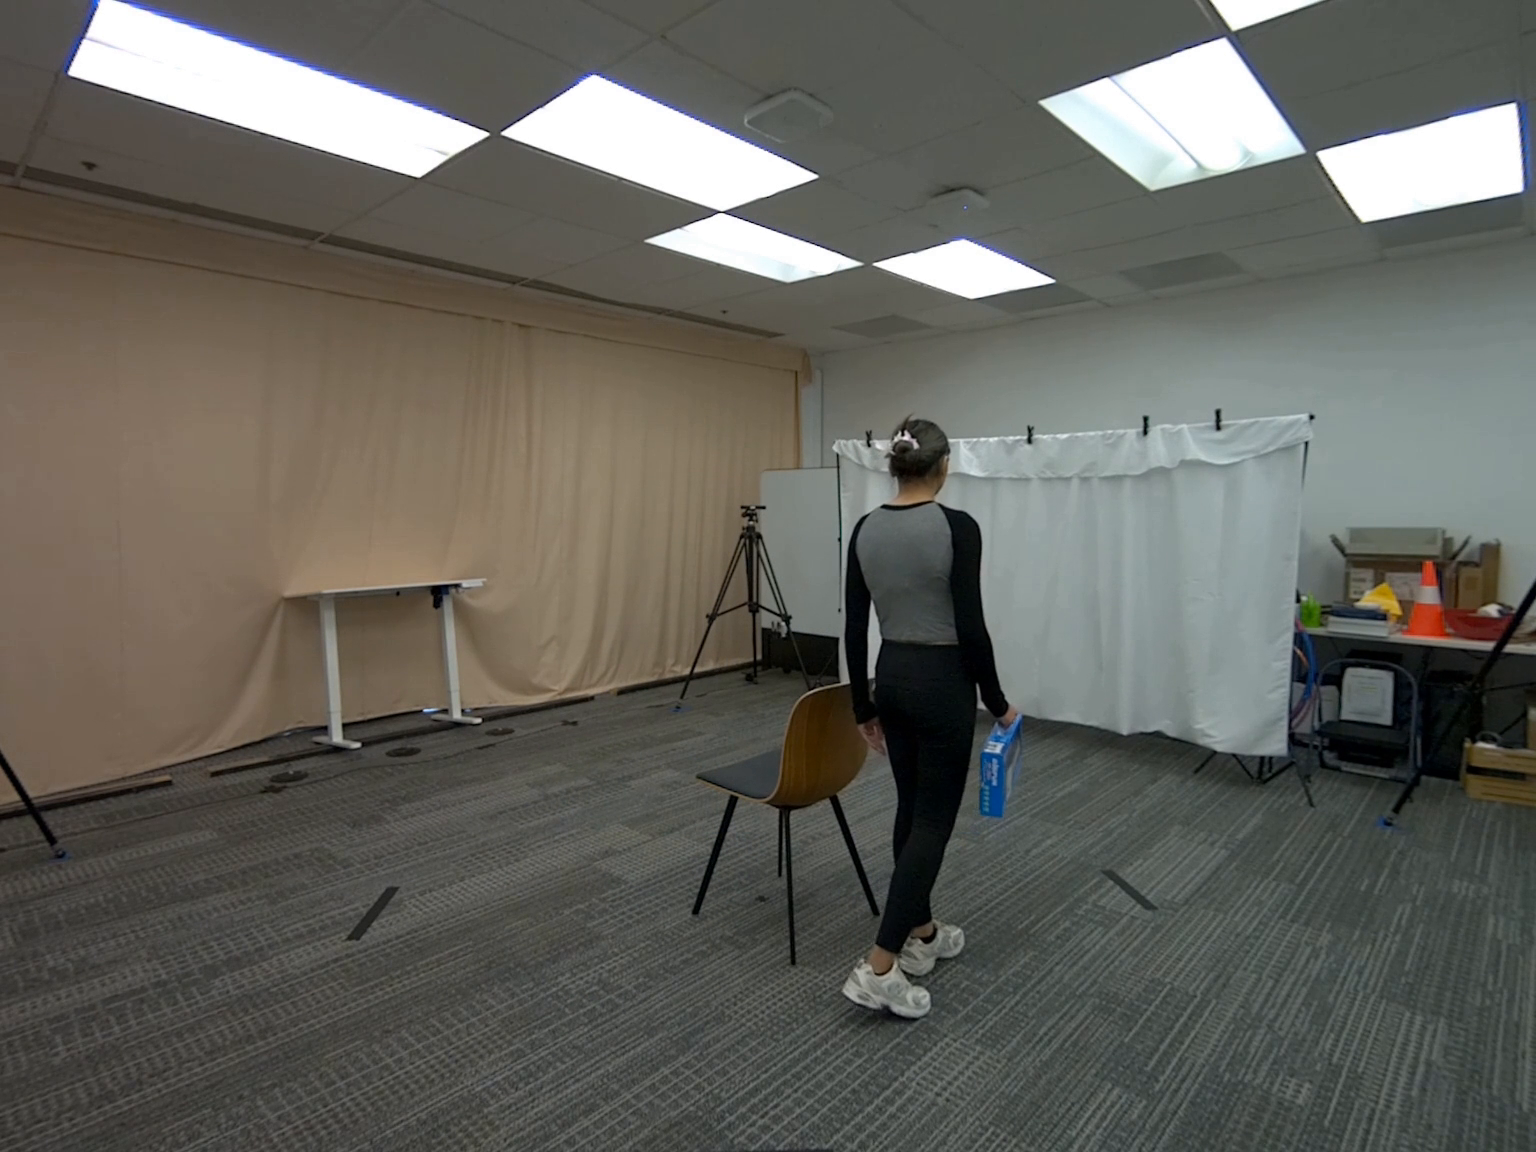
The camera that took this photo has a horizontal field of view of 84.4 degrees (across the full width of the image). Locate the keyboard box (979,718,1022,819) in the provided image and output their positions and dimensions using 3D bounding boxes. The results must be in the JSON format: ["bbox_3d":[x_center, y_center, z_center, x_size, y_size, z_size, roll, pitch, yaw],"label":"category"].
[{"bbox_3d":[0.681,0.528,2.410,0.060,0.175,0.428,2,8,24],"label":"keyboard box"}]
